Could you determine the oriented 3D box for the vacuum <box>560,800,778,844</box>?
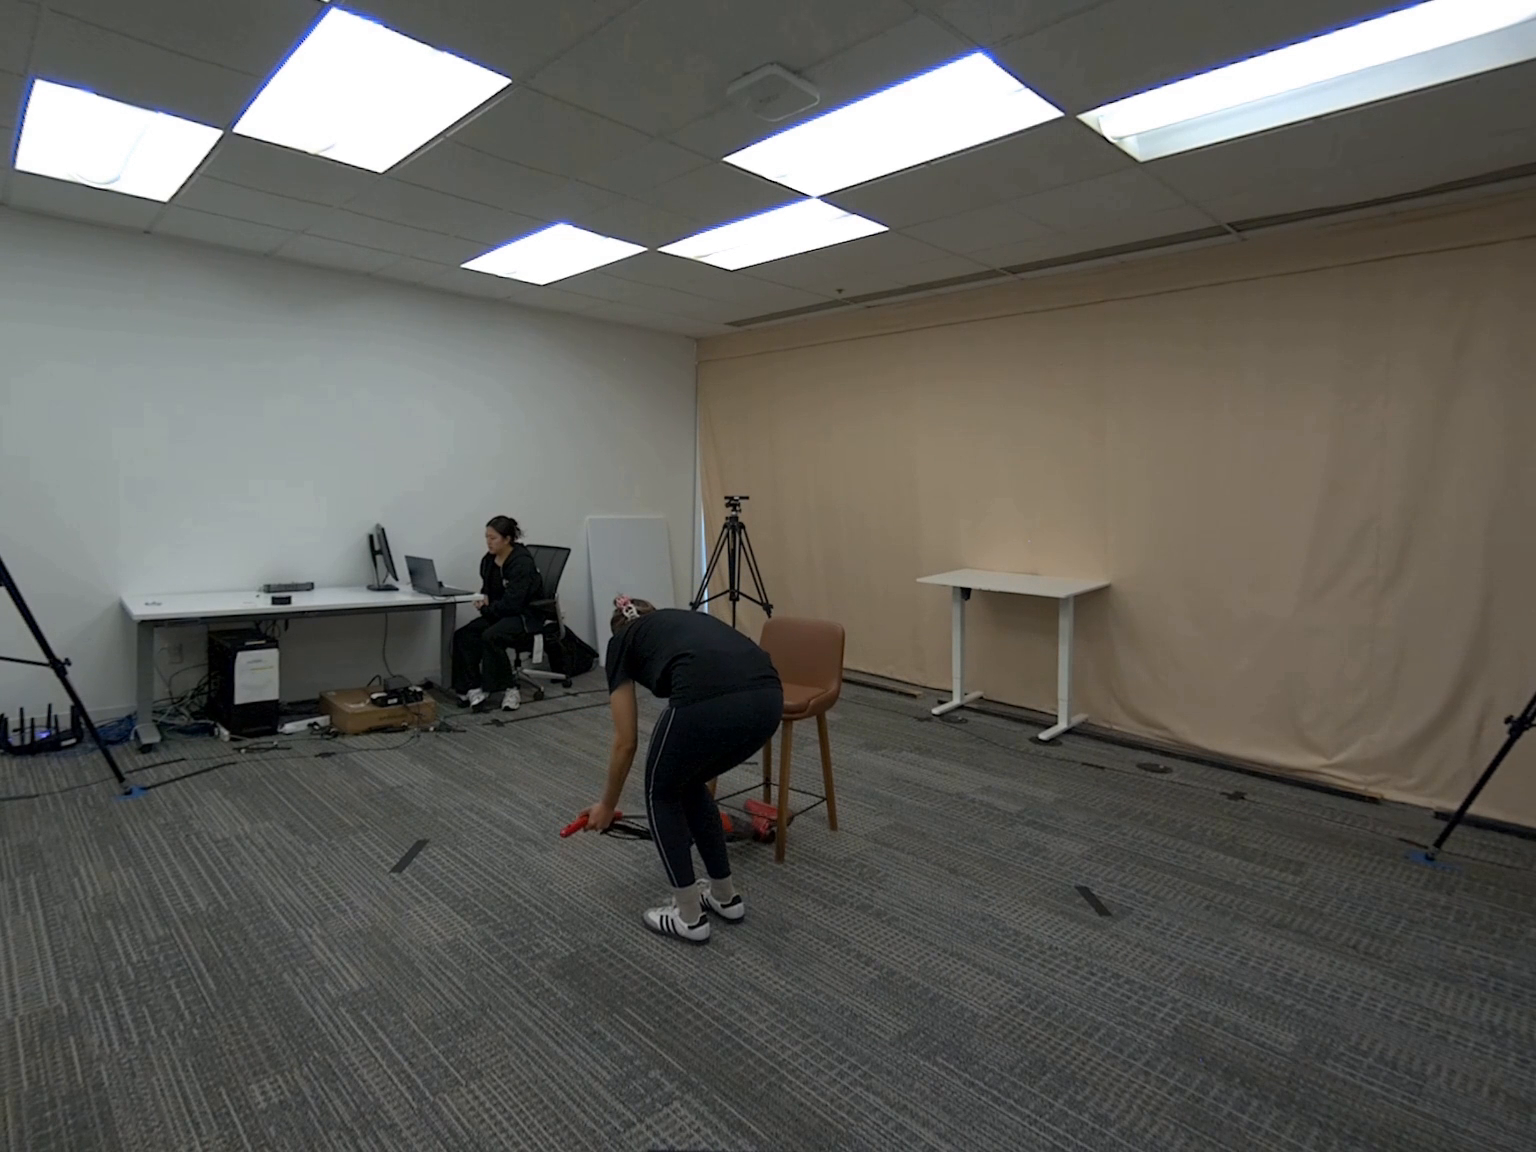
[{"bbox_3d":[-0.352,0.936,3.092,0.259,0.144,1.019,12,-1,42],"label":"vacuum"}]
